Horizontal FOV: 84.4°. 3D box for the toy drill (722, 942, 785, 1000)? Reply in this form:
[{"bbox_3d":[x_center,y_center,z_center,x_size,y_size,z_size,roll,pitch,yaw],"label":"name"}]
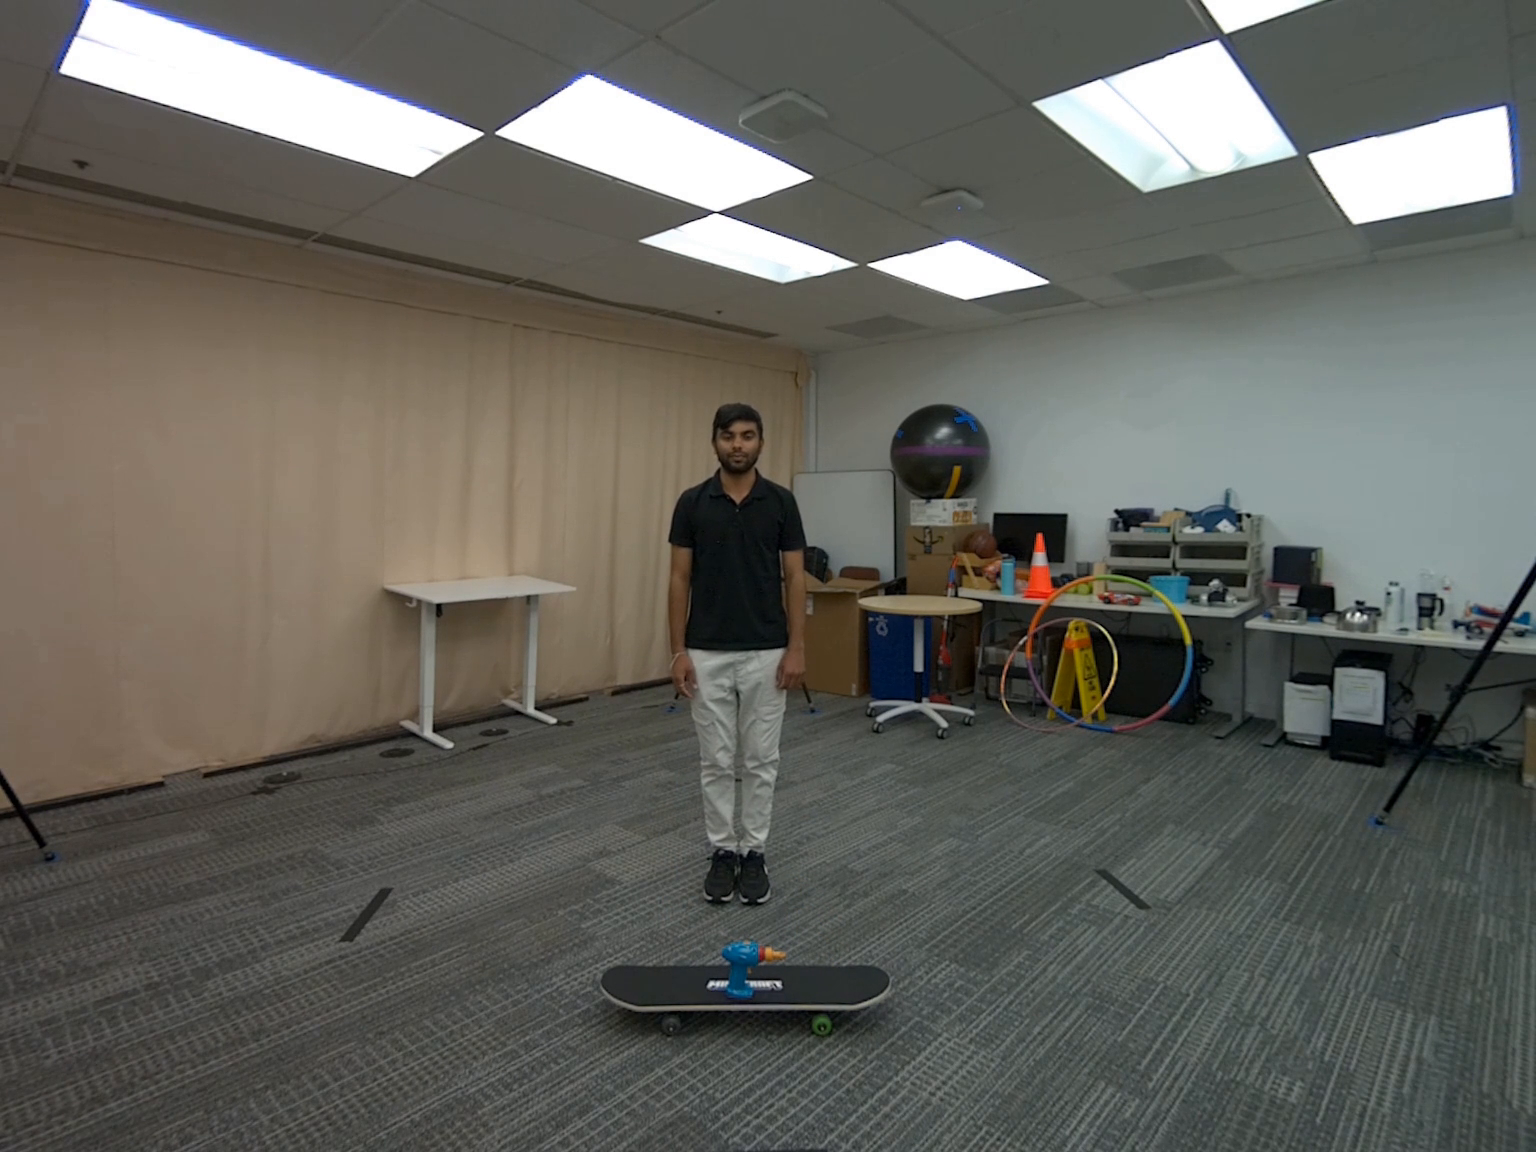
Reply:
[{"bbox_3d":[-0.033,1.038,2.244,0.170,0.146,0.061,0,1,2],"label":"toy drill"}]
